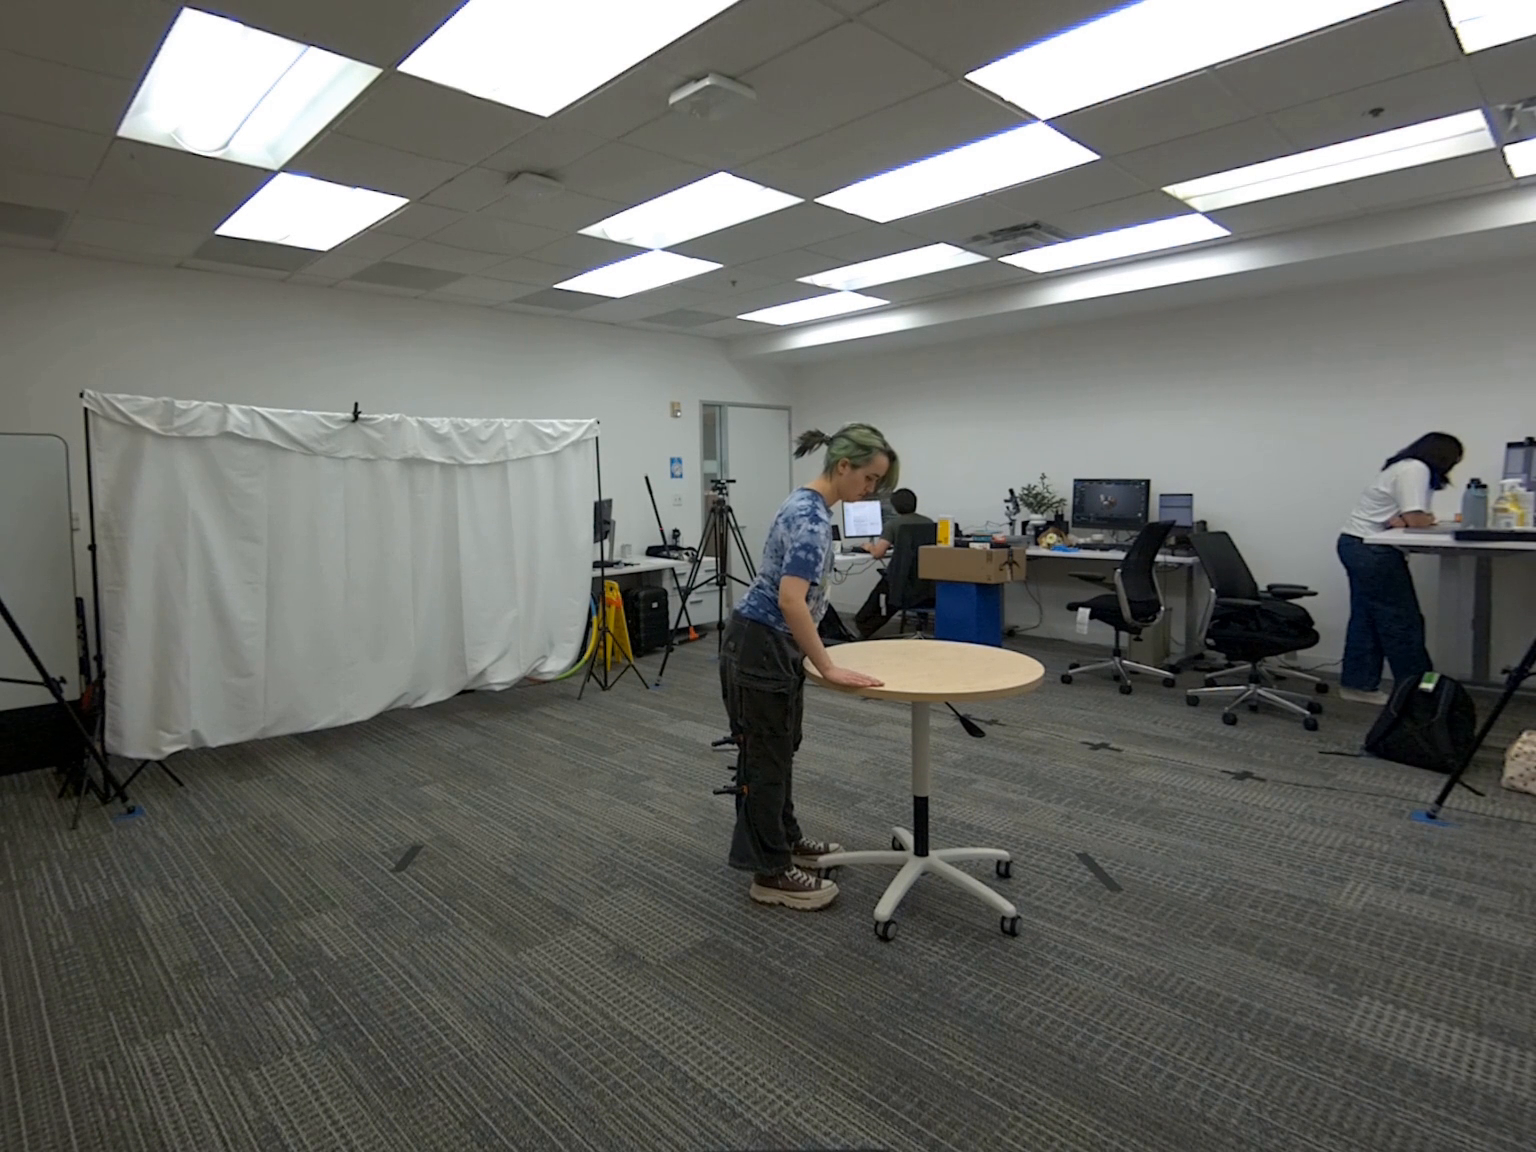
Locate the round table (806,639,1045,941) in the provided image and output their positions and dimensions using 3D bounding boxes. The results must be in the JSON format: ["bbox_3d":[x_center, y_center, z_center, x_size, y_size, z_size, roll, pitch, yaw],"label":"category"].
[{"bbox_3d":[0.494,0.673,2.816,0.784,0.783,0.789,-1,5,-2],"label":"round table"}]
